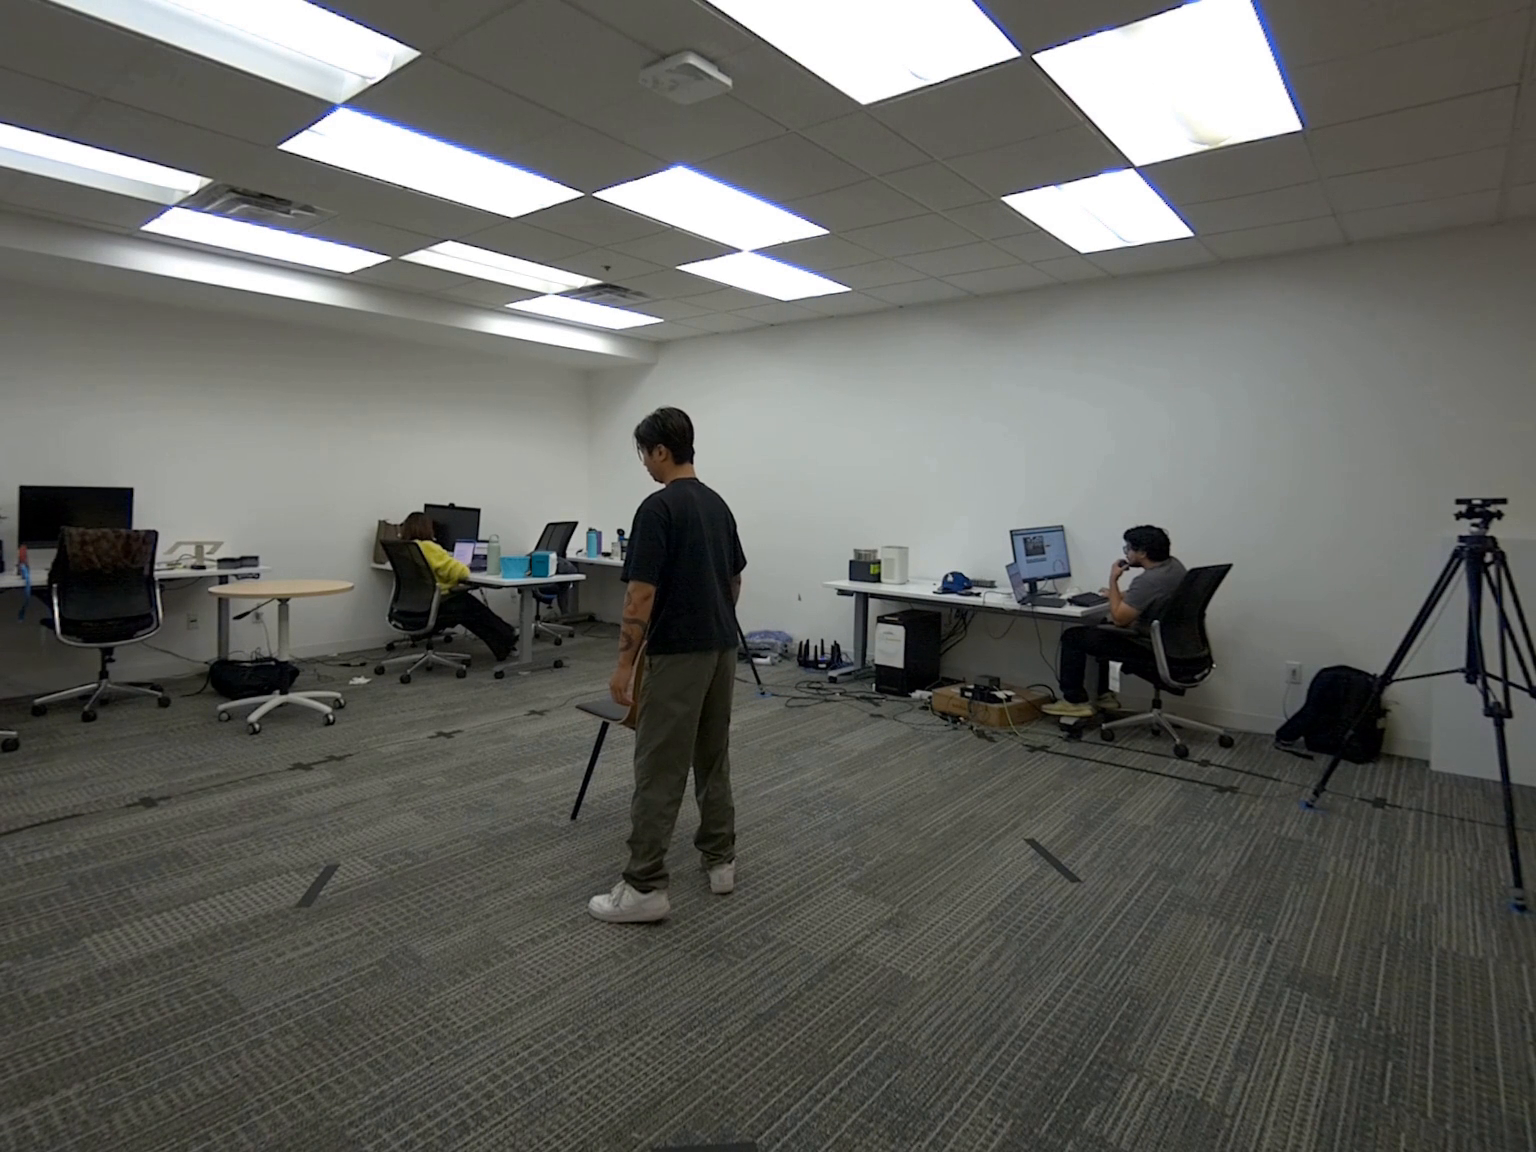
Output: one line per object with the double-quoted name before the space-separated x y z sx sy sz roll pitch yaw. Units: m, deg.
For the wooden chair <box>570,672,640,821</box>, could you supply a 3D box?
"wooden chair" -0.513 0.590 3.532 0.542 0.872 0.463 10 9 43
